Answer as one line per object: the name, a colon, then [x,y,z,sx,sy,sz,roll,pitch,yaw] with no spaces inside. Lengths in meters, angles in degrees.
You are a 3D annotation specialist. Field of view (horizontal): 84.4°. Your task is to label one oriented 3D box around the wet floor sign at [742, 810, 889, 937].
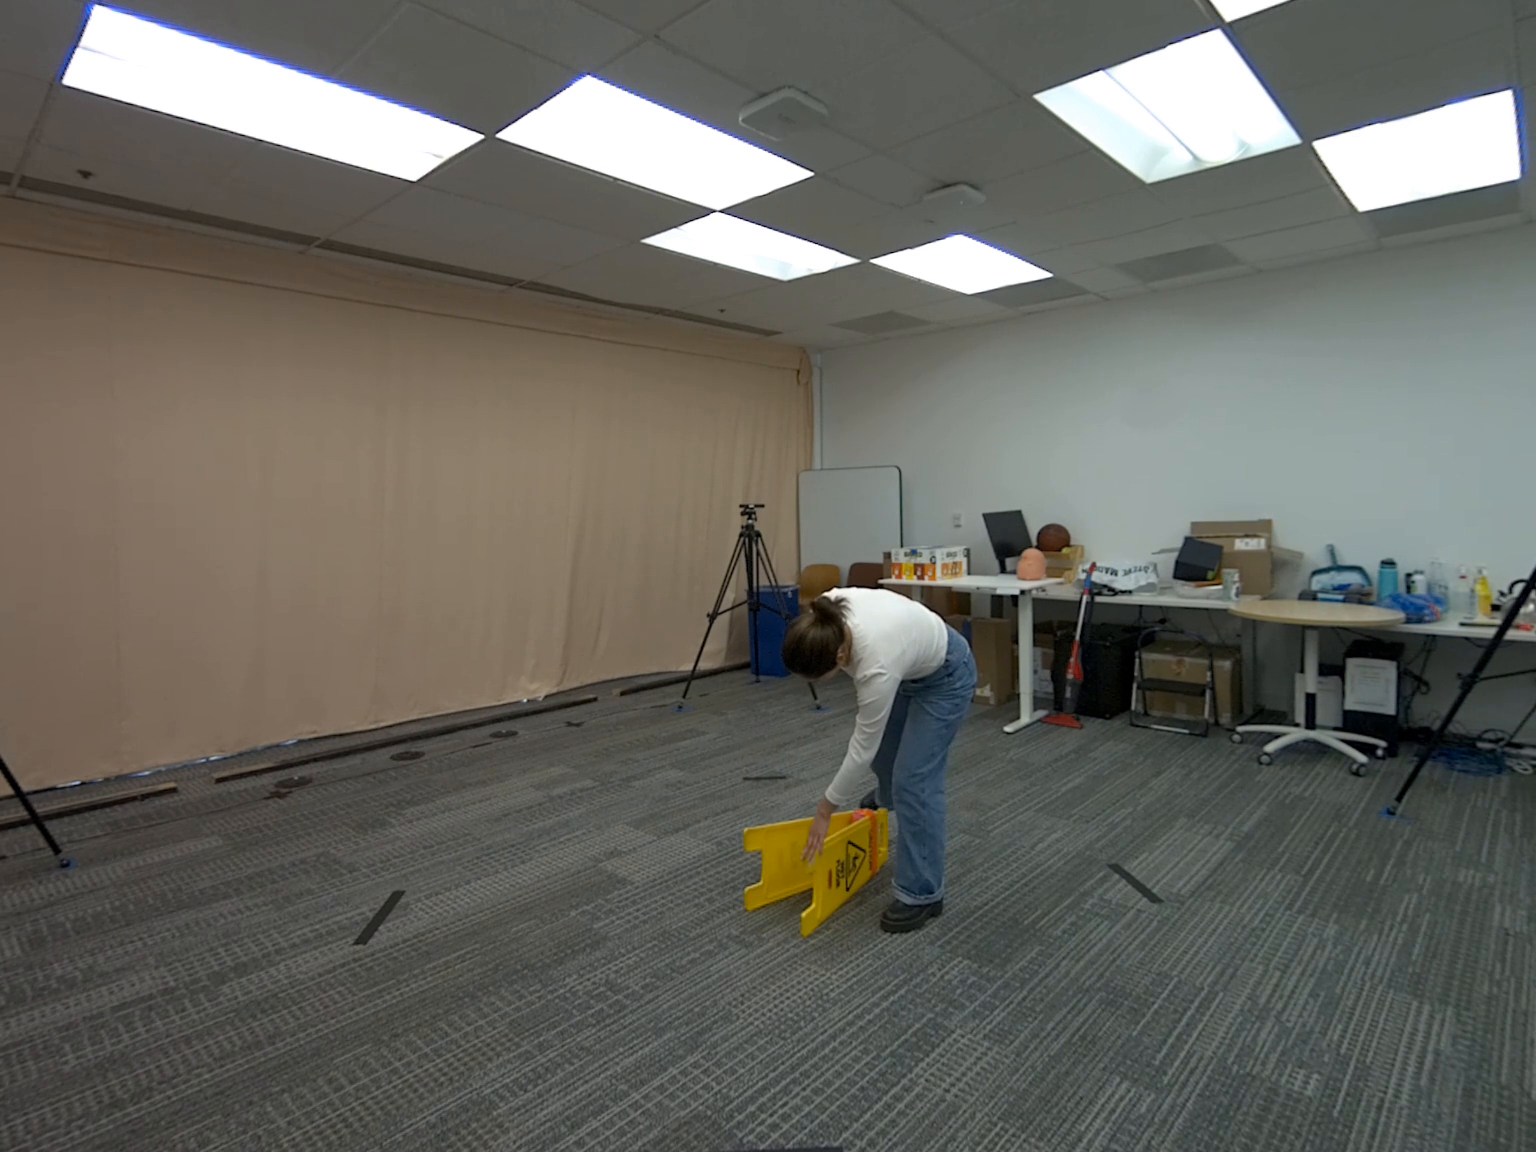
wet floor sign: [0.237,1.003,3.011,0.299,0.282,0.626,4,5,45]
